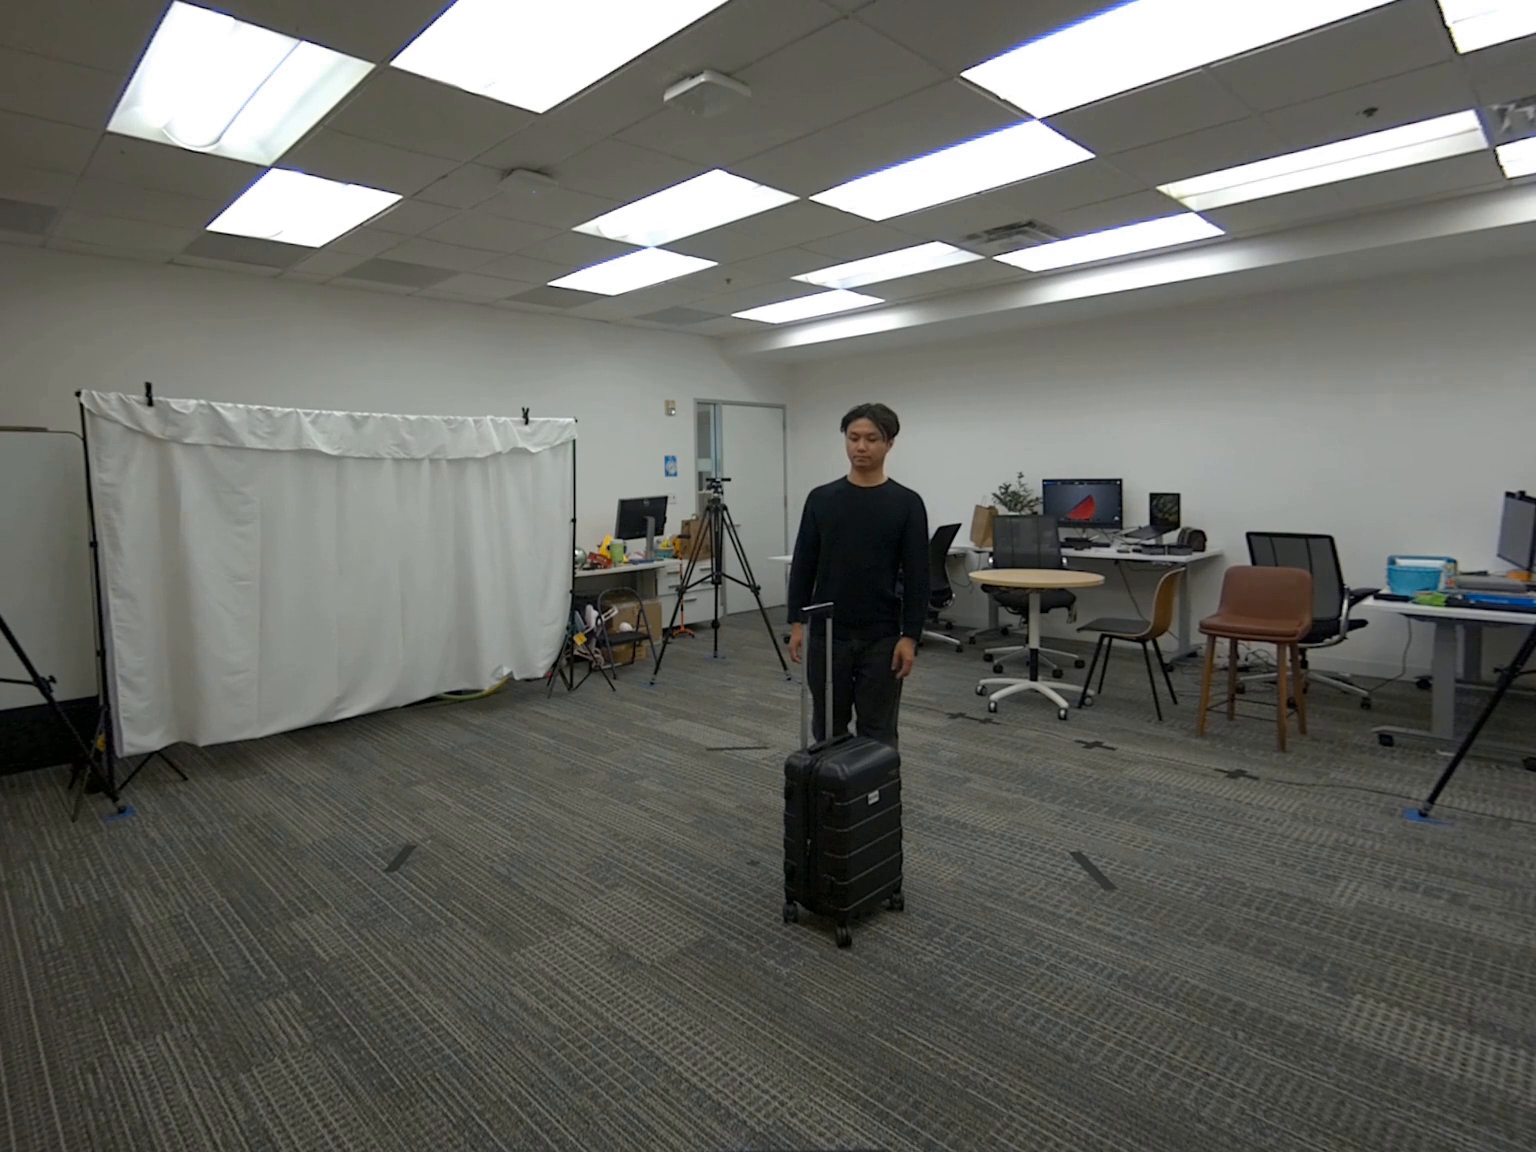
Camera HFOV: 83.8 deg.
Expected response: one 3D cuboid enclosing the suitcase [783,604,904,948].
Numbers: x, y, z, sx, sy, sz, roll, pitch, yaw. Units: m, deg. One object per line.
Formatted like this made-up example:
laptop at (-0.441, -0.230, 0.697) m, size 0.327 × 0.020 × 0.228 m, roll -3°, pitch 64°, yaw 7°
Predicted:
suitcase at (0.250, 0.603, 2.717) m, size 0.265 × 0.975 × 0.373 m, roll 4°, pitch 5°, yaw 43°
